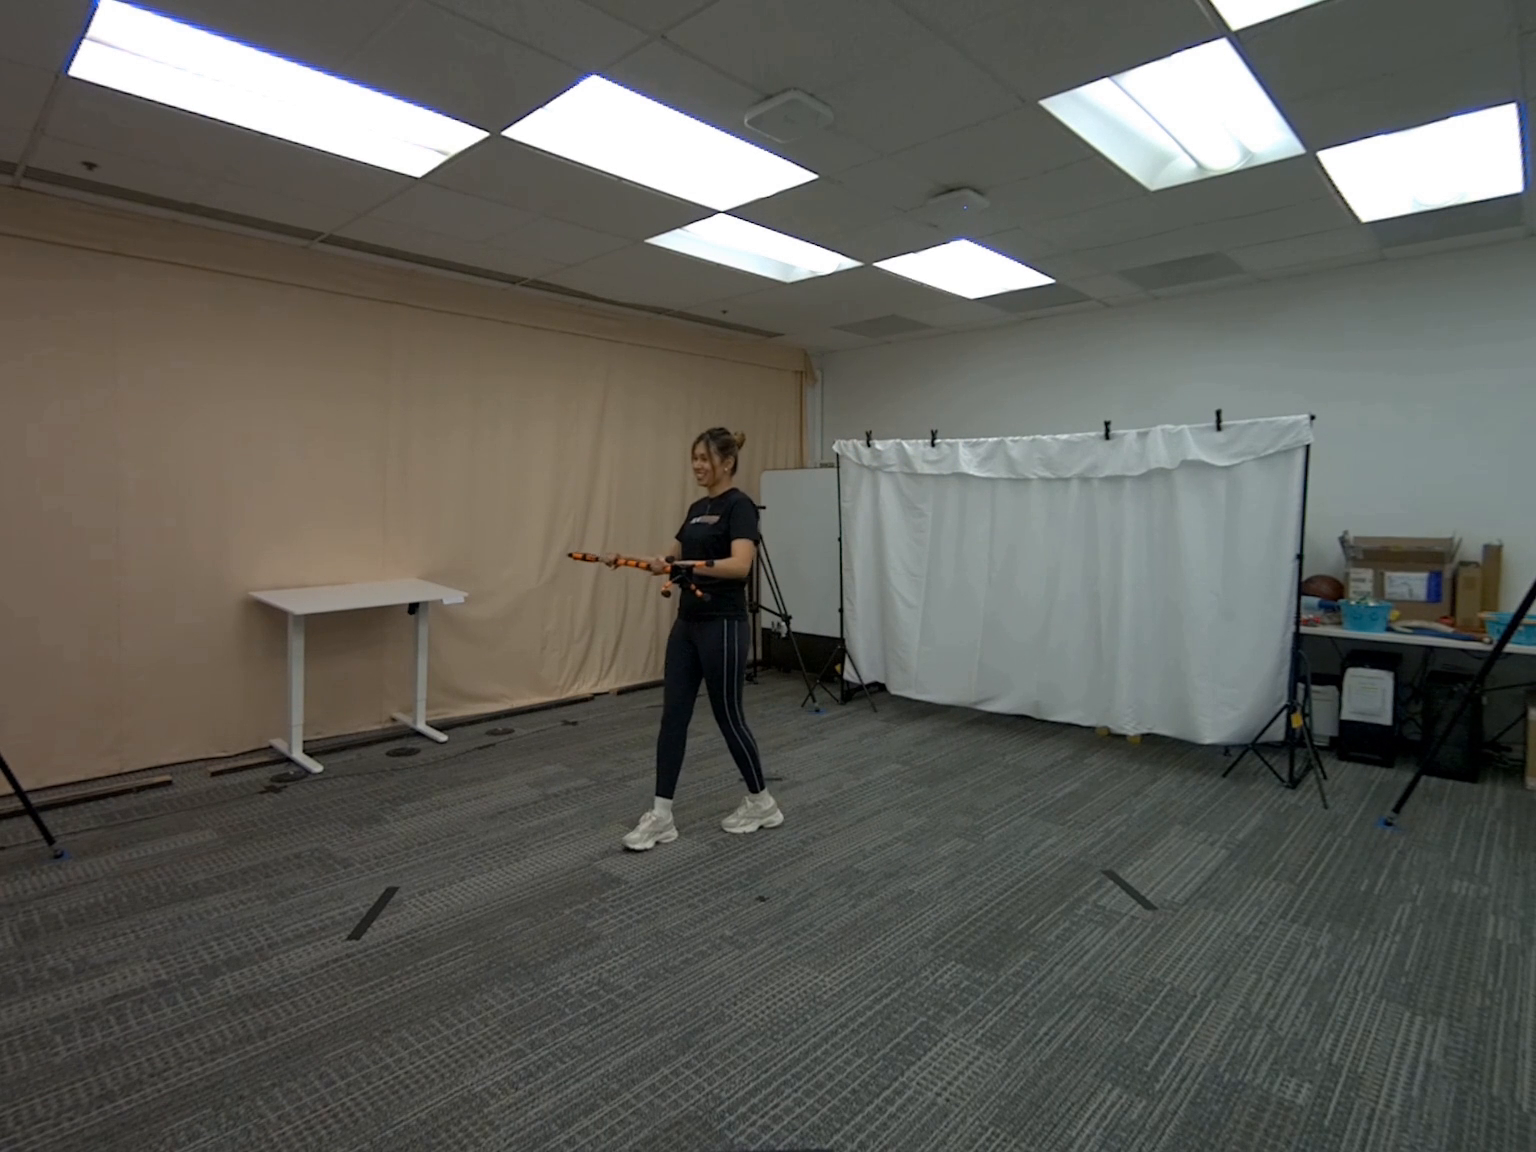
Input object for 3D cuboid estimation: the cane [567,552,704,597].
[{"bbox_3d":[-0.572,-0.036,3.406,0.200,0.151,0.938,9,0,-37],"label":"cane"}]
